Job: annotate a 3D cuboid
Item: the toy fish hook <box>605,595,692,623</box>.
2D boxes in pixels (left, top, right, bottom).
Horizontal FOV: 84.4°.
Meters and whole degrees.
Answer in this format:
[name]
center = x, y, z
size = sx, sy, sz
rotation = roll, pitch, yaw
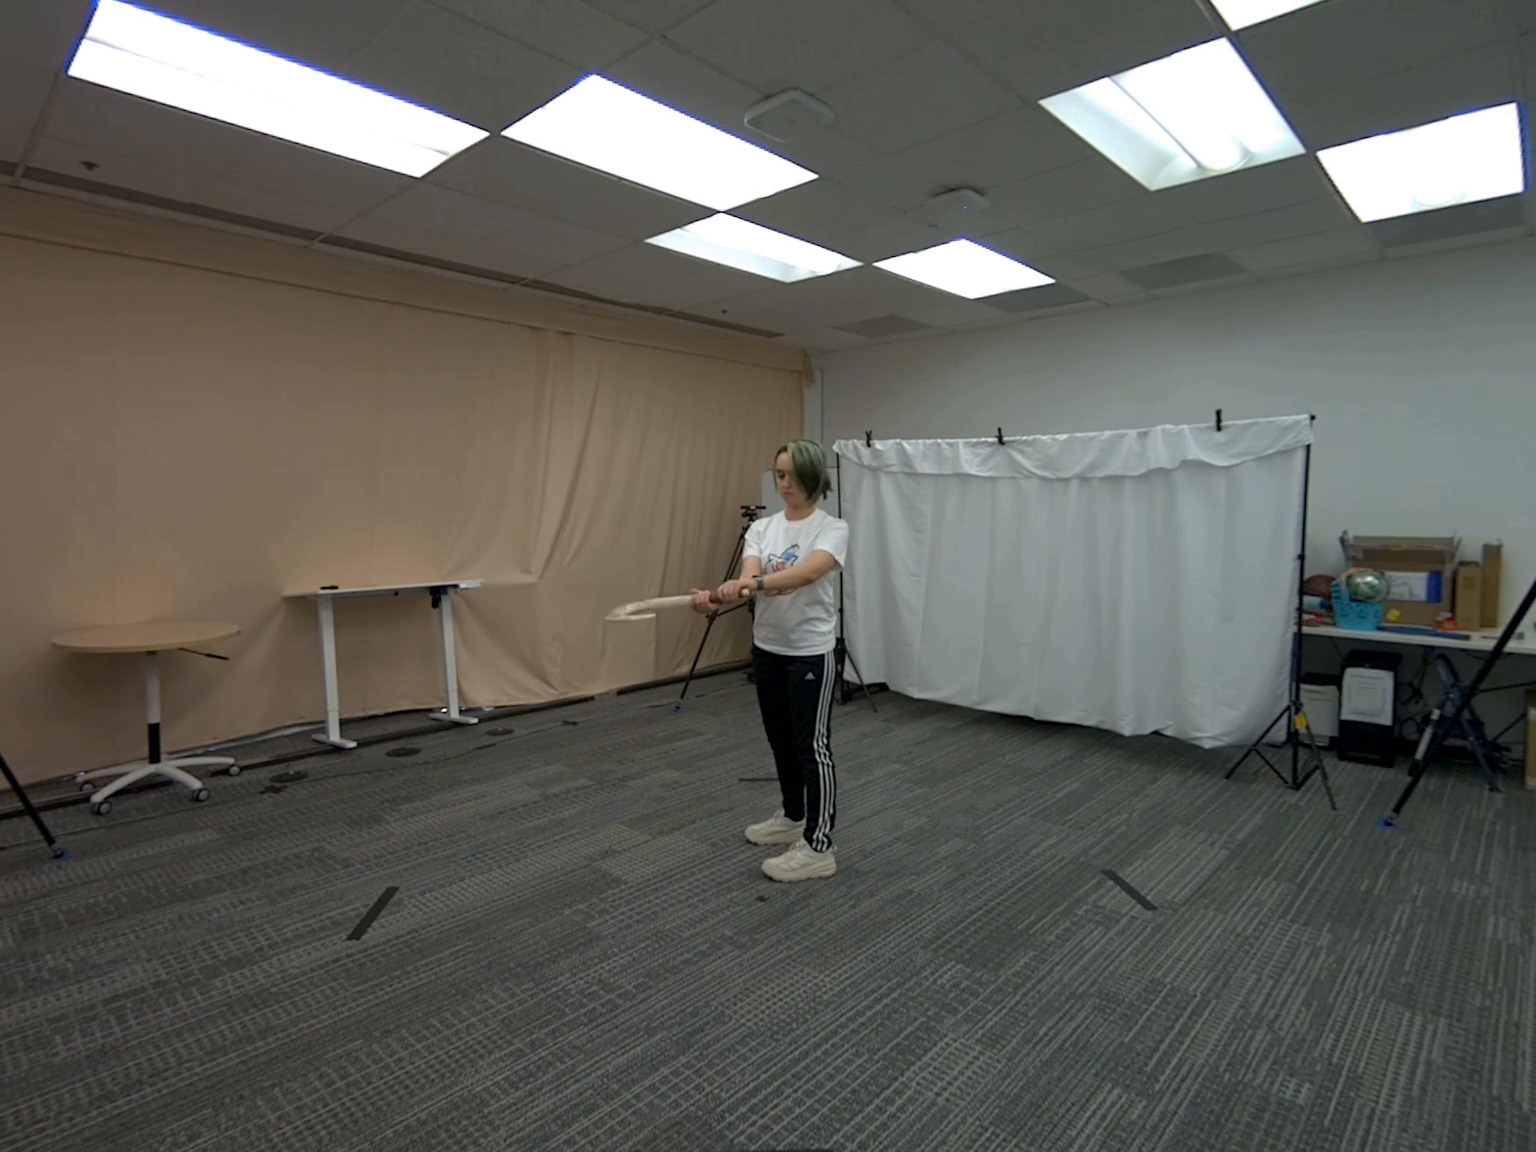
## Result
[toy fish hook]
center = -0.304, 0.106, 2.878
size = 0.514, 0.048, 0.223
rotation = -9, 13, 14
